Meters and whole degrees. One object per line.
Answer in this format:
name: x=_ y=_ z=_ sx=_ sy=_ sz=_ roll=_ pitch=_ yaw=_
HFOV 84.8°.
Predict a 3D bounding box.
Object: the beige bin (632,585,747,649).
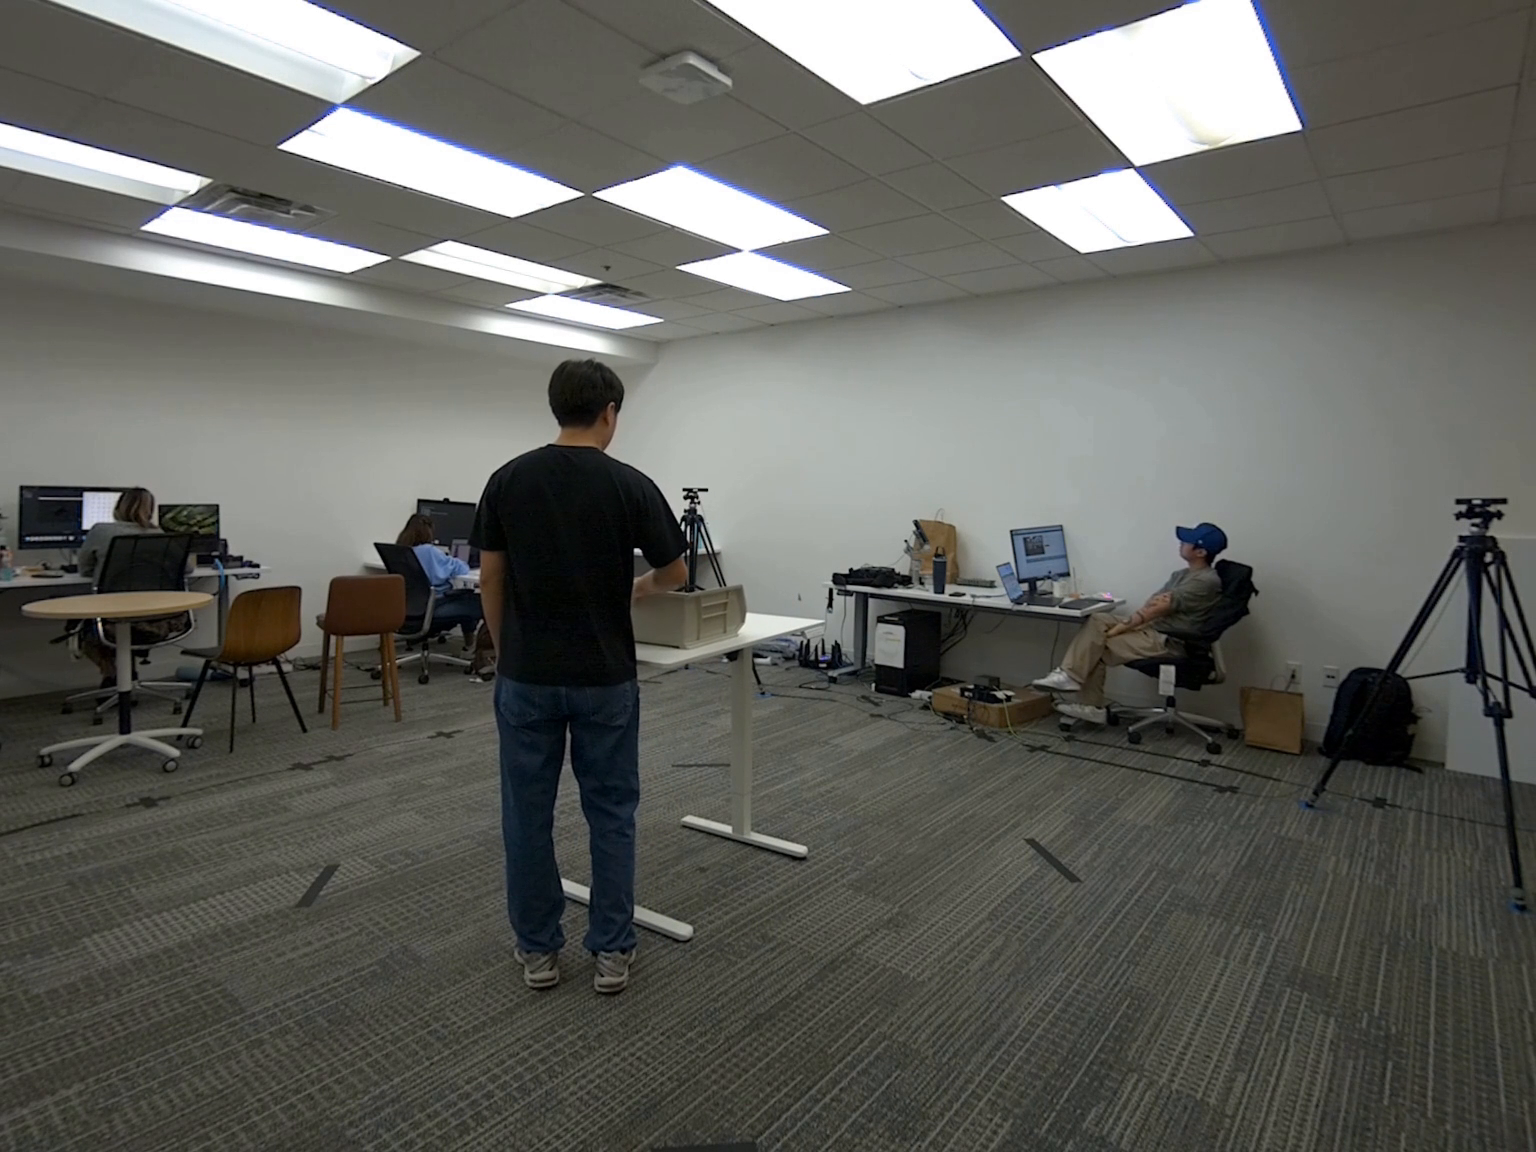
beige bin: x=-0.356 y=0.117 z=2.914 sx=0.435 sy=0.188 sz=0.368 roll=4 pitch=7 yaw=30
